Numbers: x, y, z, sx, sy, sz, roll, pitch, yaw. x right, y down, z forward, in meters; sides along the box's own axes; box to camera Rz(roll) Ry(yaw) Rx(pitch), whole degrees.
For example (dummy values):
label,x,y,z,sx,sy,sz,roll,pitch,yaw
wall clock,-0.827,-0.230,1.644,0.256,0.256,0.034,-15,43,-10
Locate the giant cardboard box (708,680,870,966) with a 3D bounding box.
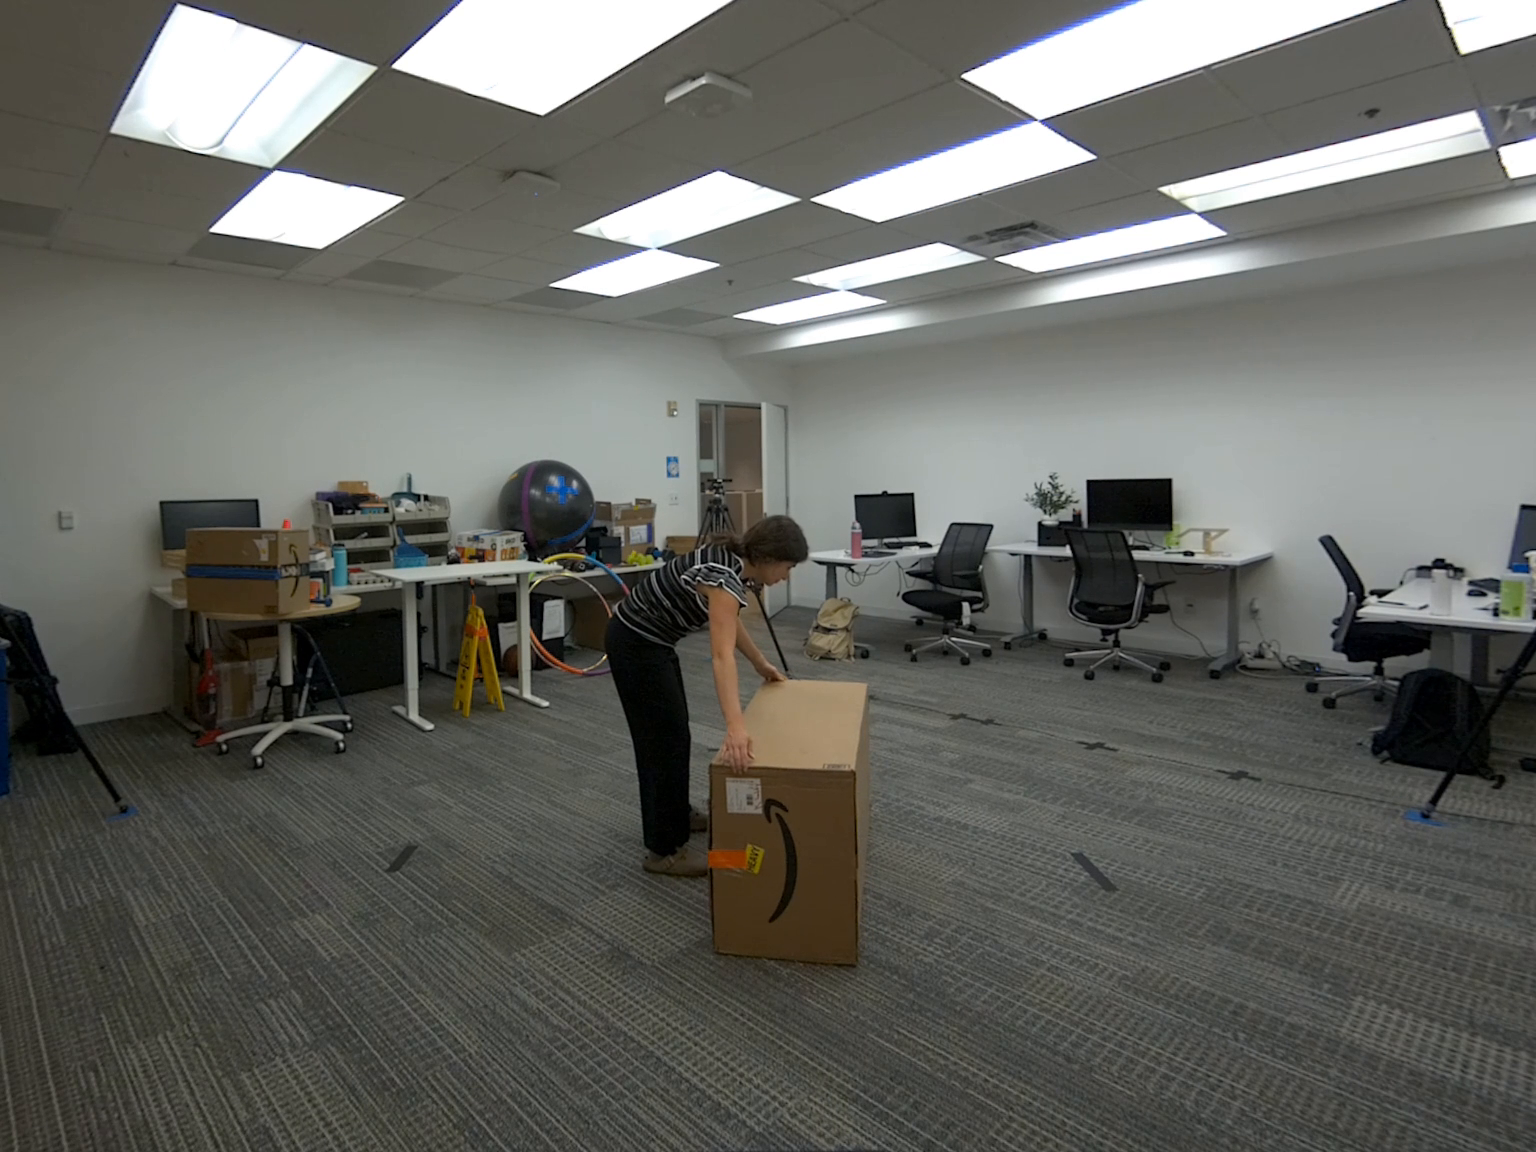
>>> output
label,x,y,z,sx,sy,sz,roll,pitch,yaw
giant cardboard box,0.119,0.765,2.962,0.430,0.575,1.020,-1,5,9
